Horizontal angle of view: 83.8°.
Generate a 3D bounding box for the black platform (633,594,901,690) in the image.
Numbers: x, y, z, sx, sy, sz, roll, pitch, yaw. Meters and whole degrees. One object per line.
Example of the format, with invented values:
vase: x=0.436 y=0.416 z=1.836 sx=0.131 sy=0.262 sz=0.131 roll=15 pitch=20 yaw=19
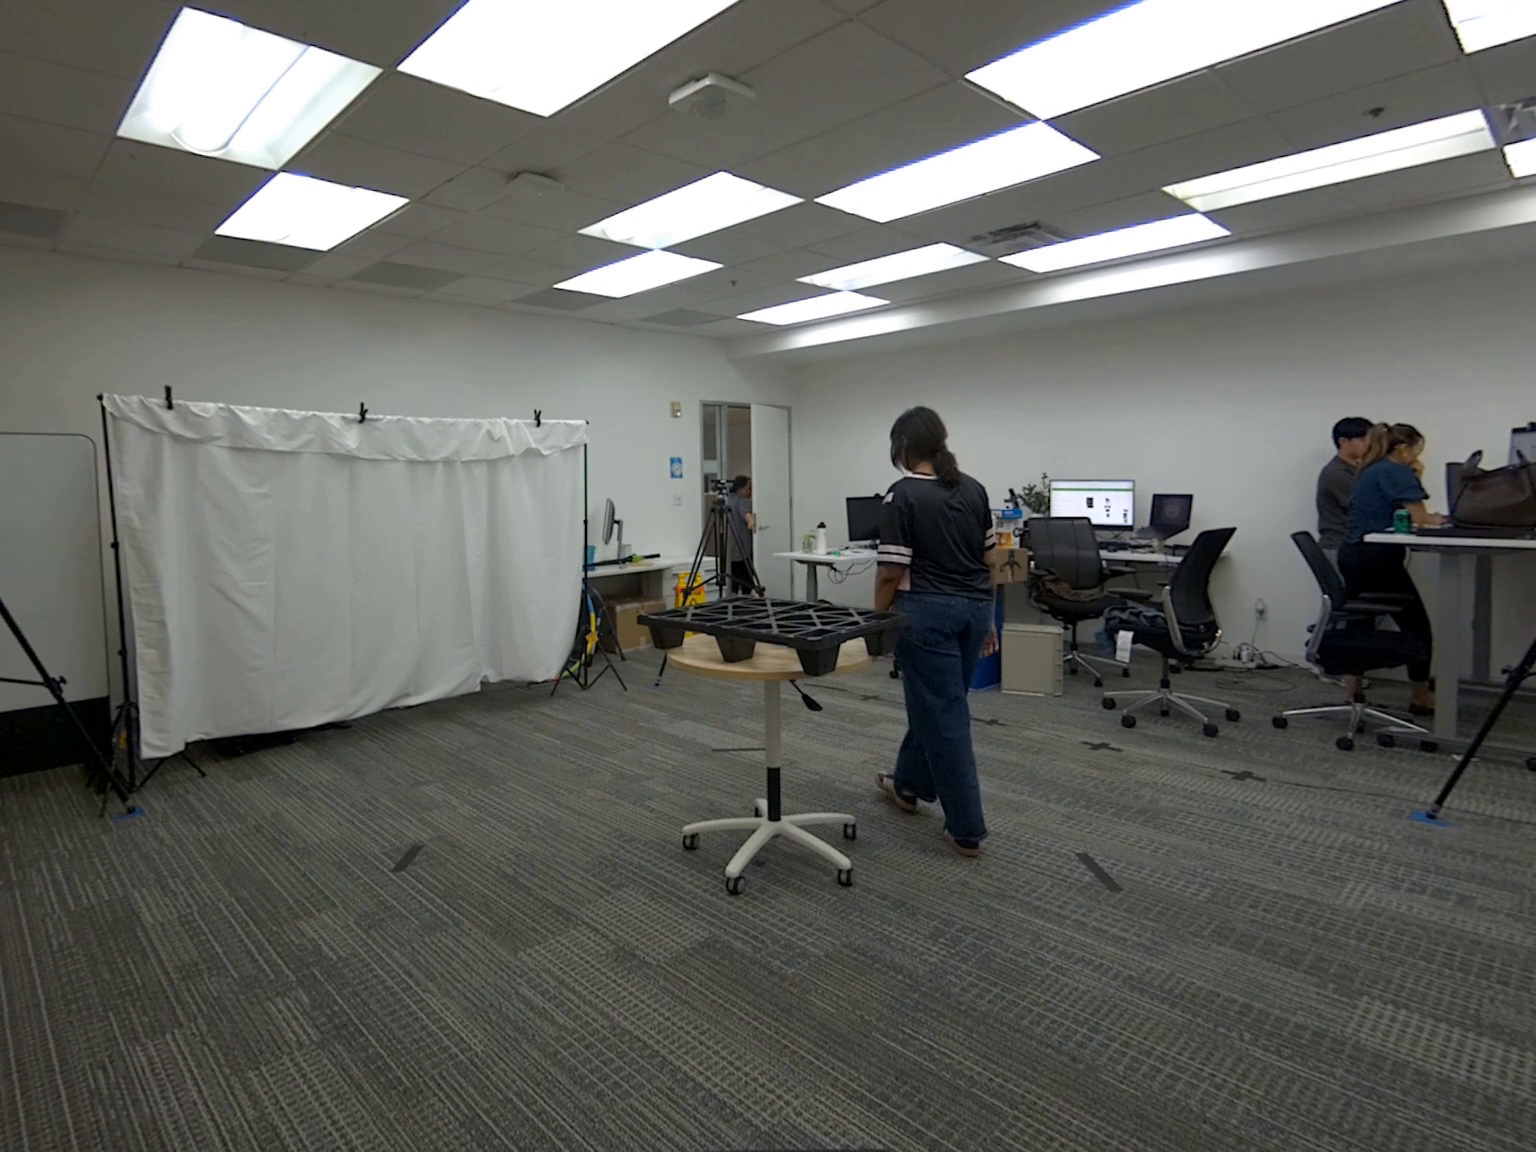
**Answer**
black platform: x=0.019 y=0.206 z=3.049 sx=0.830 sy=0.142 sz=0.590 roll=5 pitch=9 yaw=41
